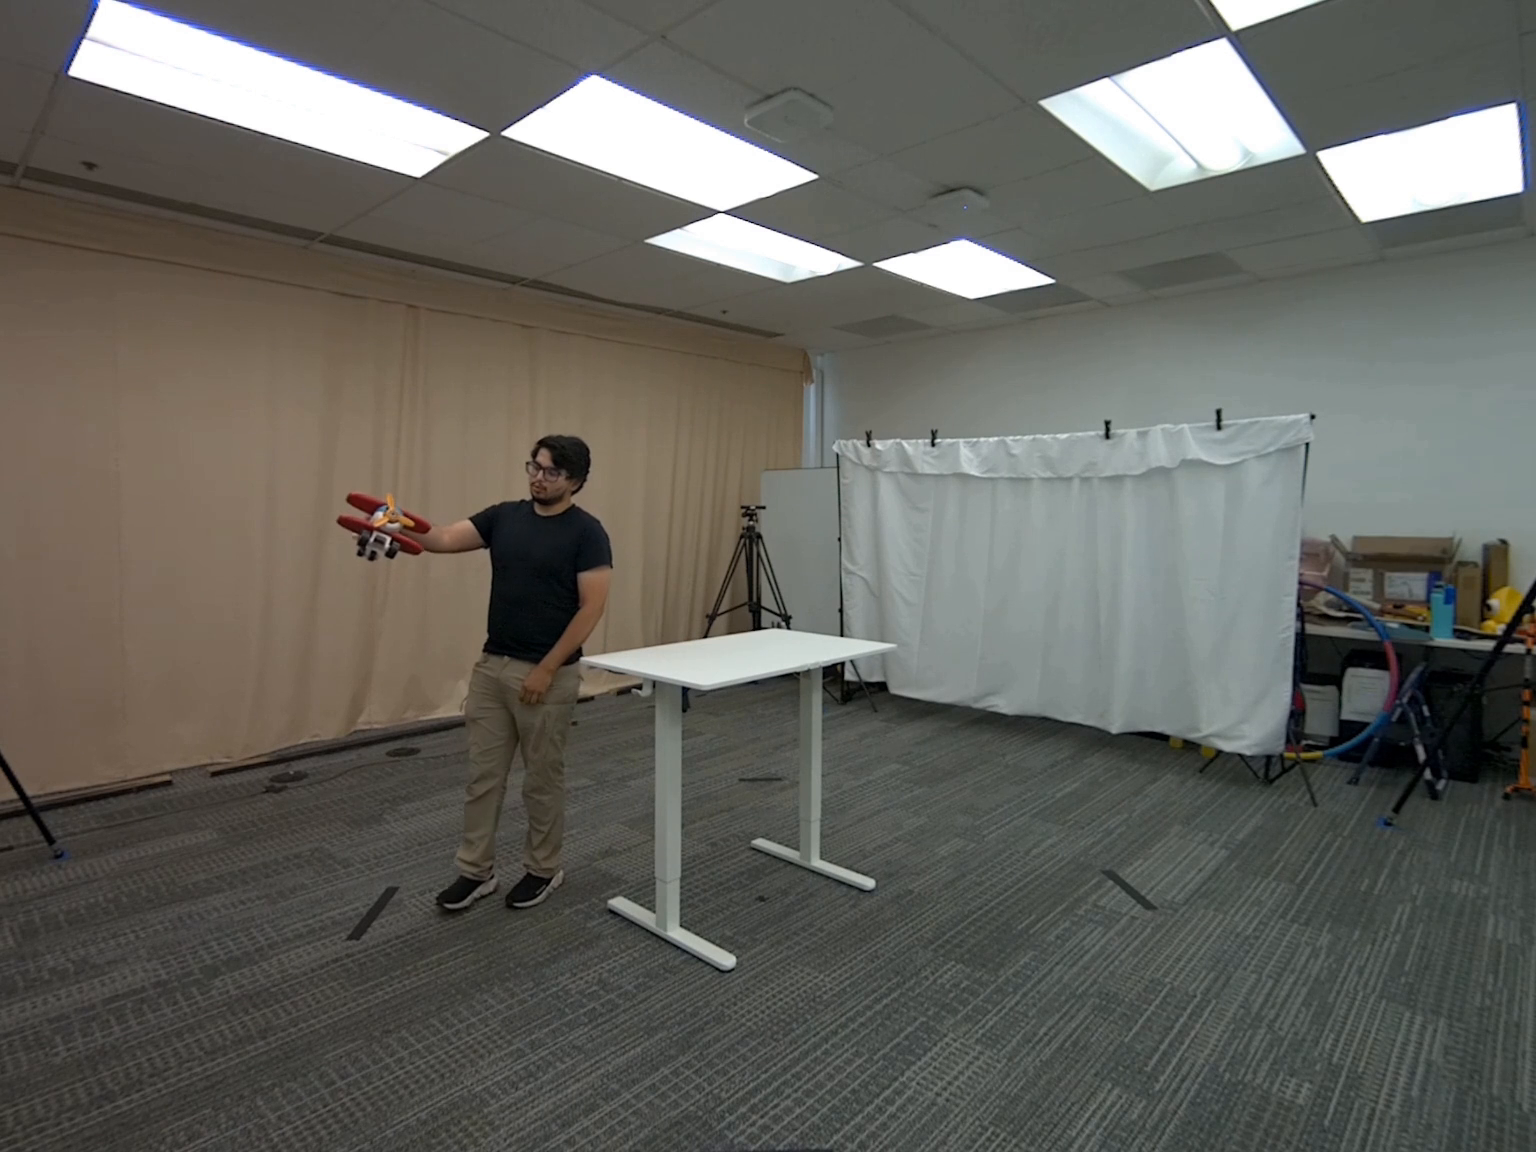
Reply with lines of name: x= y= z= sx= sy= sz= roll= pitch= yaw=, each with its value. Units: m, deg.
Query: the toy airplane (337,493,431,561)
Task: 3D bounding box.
toy airplane: x=-1.192 y=-0.140 z=2.542 sx=0.267 sy=0.157 sz=0.242 roll=8 pitch=-20 yaw=31
